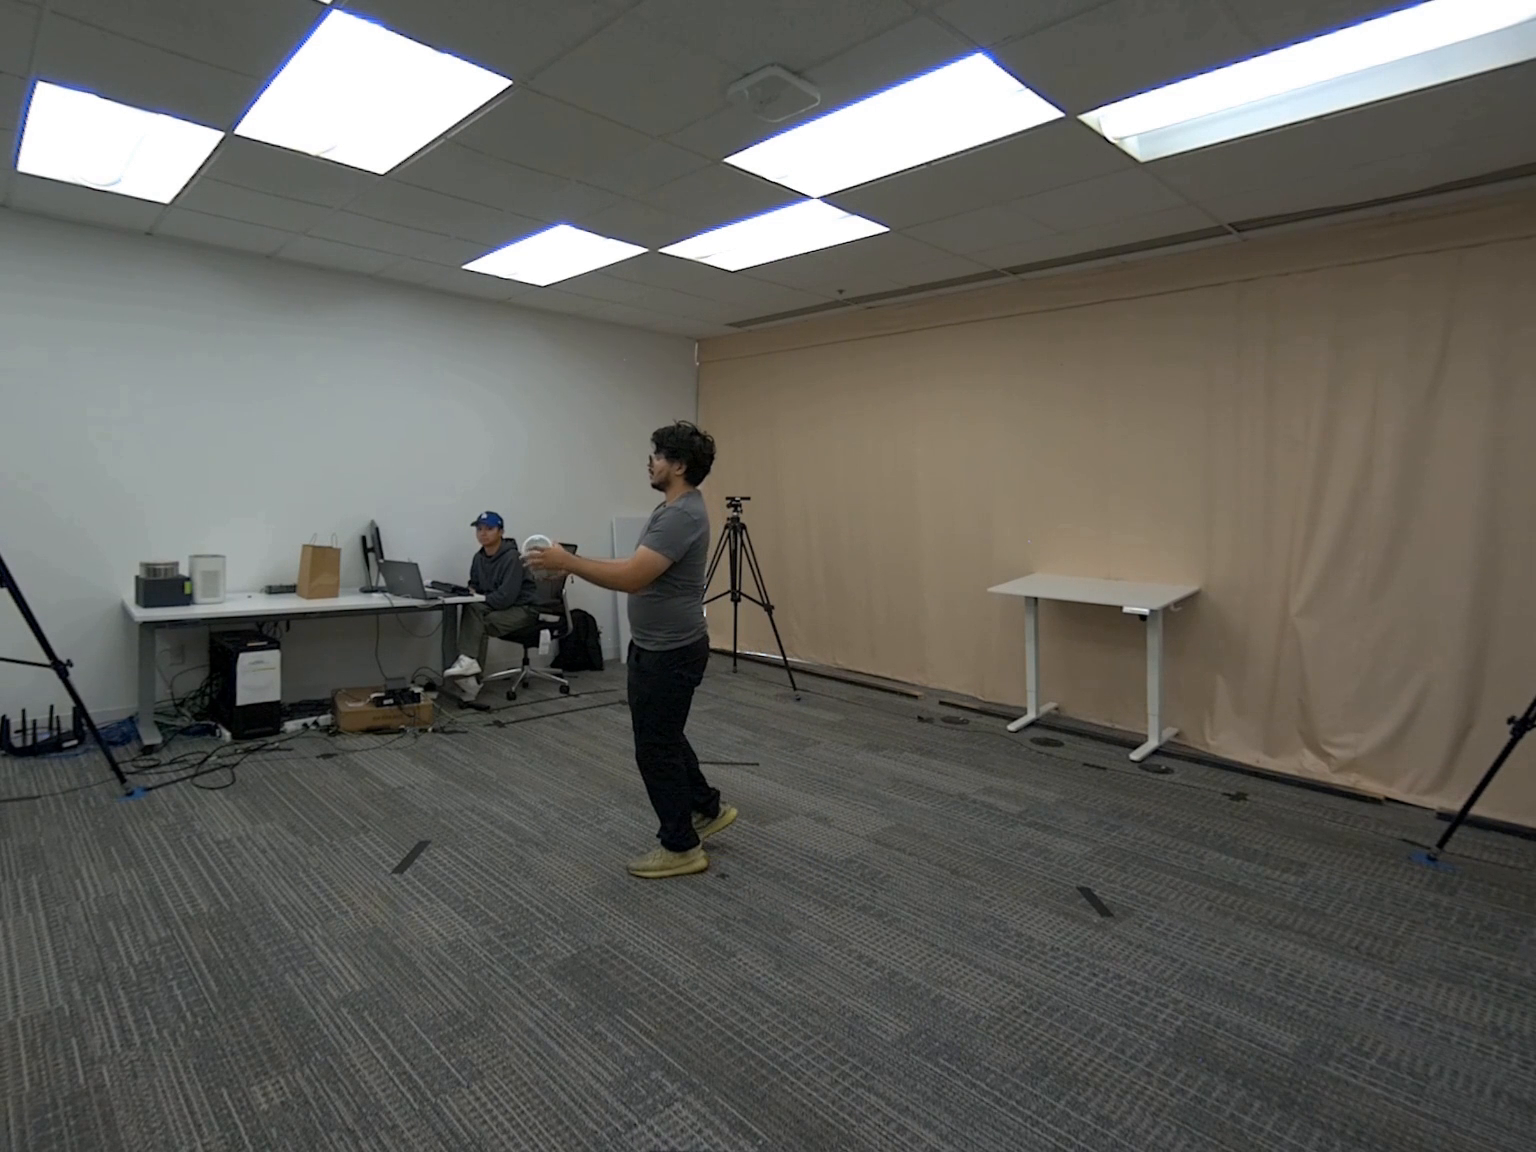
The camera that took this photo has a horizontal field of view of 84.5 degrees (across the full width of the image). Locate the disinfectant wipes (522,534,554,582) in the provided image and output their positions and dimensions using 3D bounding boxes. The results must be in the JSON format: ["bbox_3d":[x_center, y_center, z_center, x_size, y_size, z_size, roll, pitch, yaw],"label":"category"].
[{"bbox_3d":[-0.829,-0.070,3.073,0.117,0.119,0.215,1,-14,-2],"label":"disinfectant wipes"}]
